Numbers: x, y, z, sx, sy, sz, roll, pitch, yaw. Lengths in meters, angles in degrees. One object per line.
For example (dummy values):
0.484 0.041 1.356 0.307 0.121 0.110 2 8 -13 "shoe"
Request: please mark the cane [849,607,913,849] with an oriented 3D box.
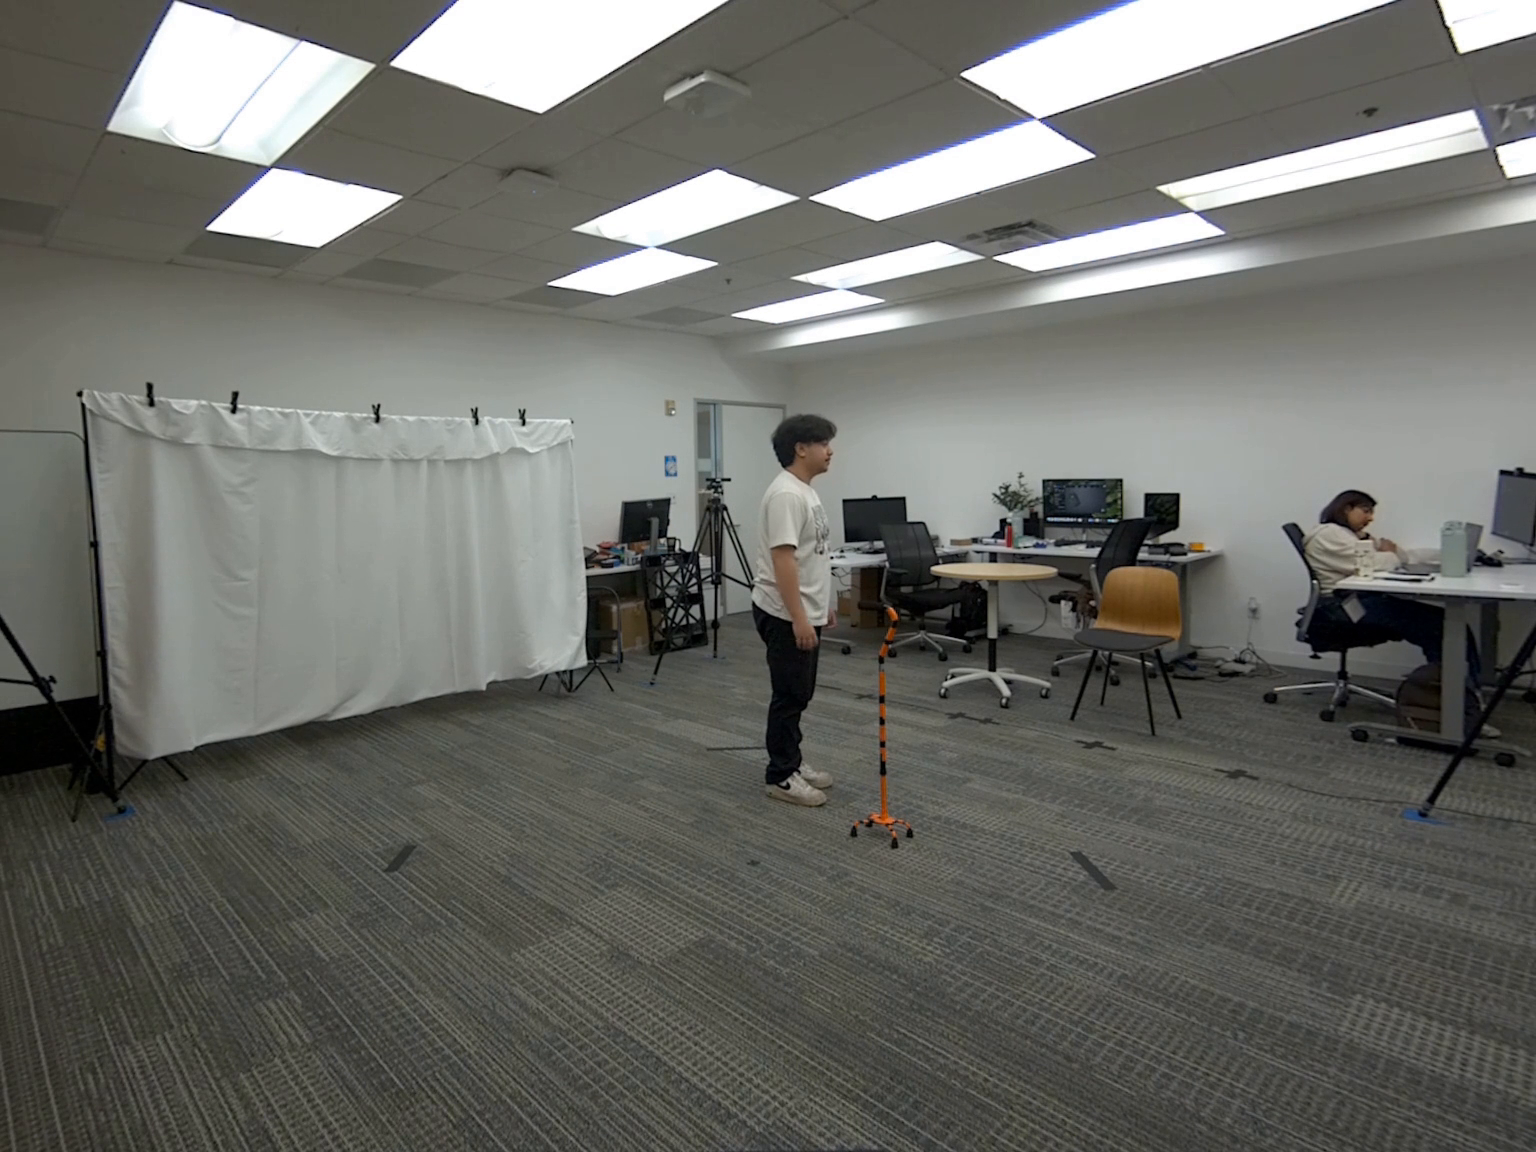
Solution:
0.436 0.560 3.290 0.212 0.905 0.147 2 4 39 "cane"
